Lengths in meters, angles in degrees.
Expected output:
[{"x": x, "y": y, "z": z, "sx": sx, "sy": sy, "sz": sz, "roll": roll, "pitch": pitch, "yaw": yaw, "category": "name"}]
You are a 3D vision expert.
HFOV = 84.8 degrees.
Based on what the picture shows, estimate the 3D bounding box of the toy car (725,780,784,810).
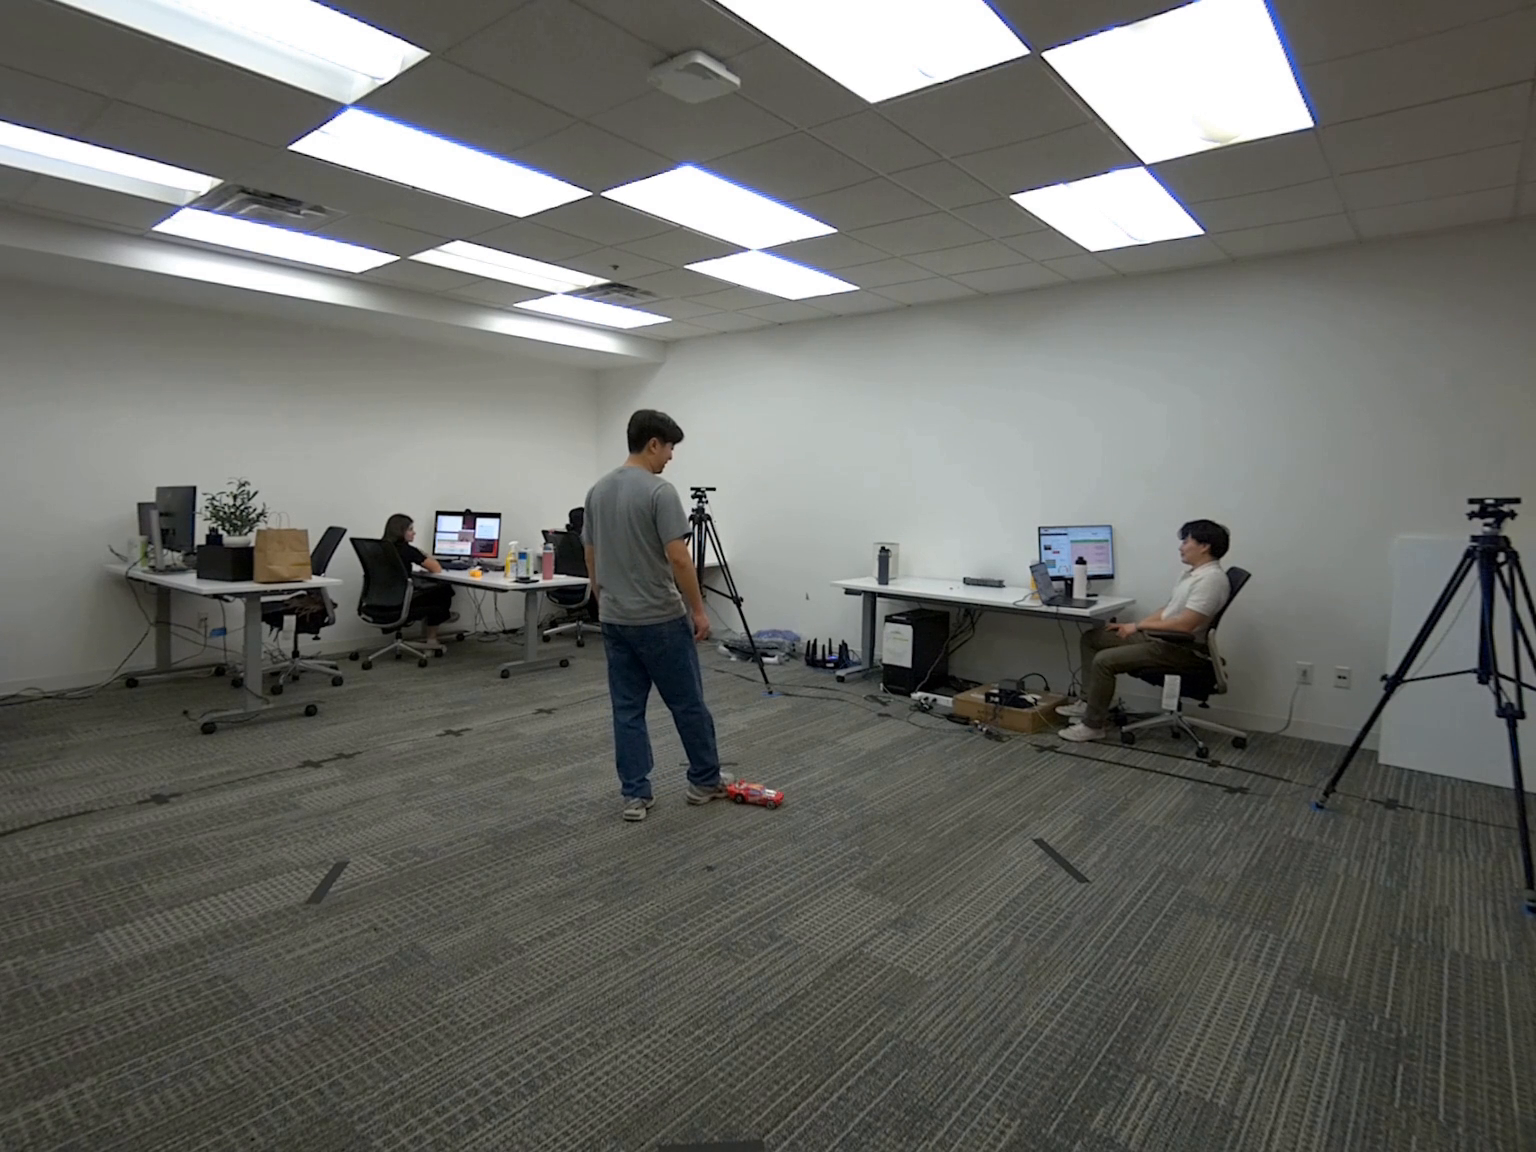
[{"x": -0.070, "y": 0.973, "z": 3.783, "sx": 0.260, "sy": 0.083, "sz": 0.128, "roll": 15, "pitch": 9, "yaw": 18, "category": "toy car"}]
